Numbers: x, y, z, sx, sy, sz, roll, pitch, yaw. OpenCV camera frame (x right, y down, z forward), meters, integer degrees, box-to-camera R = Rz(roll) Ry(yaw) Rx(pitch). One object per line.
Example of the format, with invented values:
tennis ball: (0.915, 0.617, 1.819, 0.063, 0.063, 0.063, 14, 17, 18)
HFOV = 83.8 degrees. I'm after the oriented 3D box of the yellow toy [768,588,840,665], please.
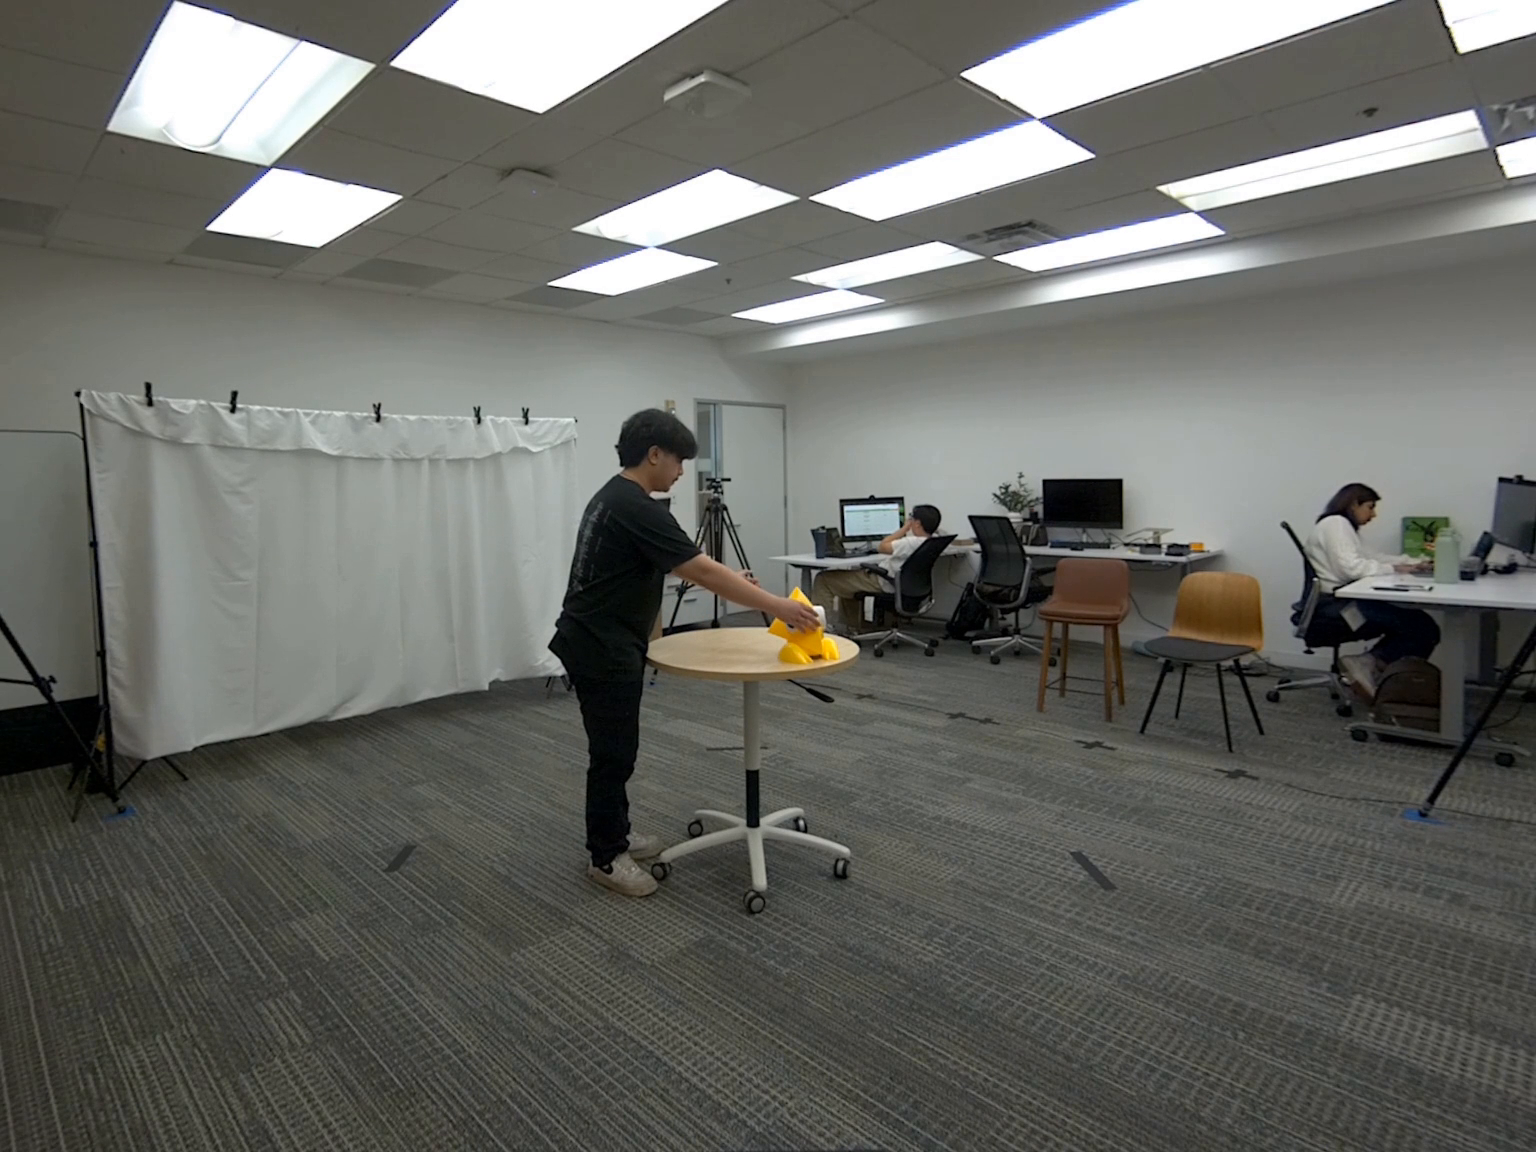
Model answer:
yellow toy: (0.129, 0.157, 2.881, 0.200, 0.230, 0.198, -3, 5, -29)
